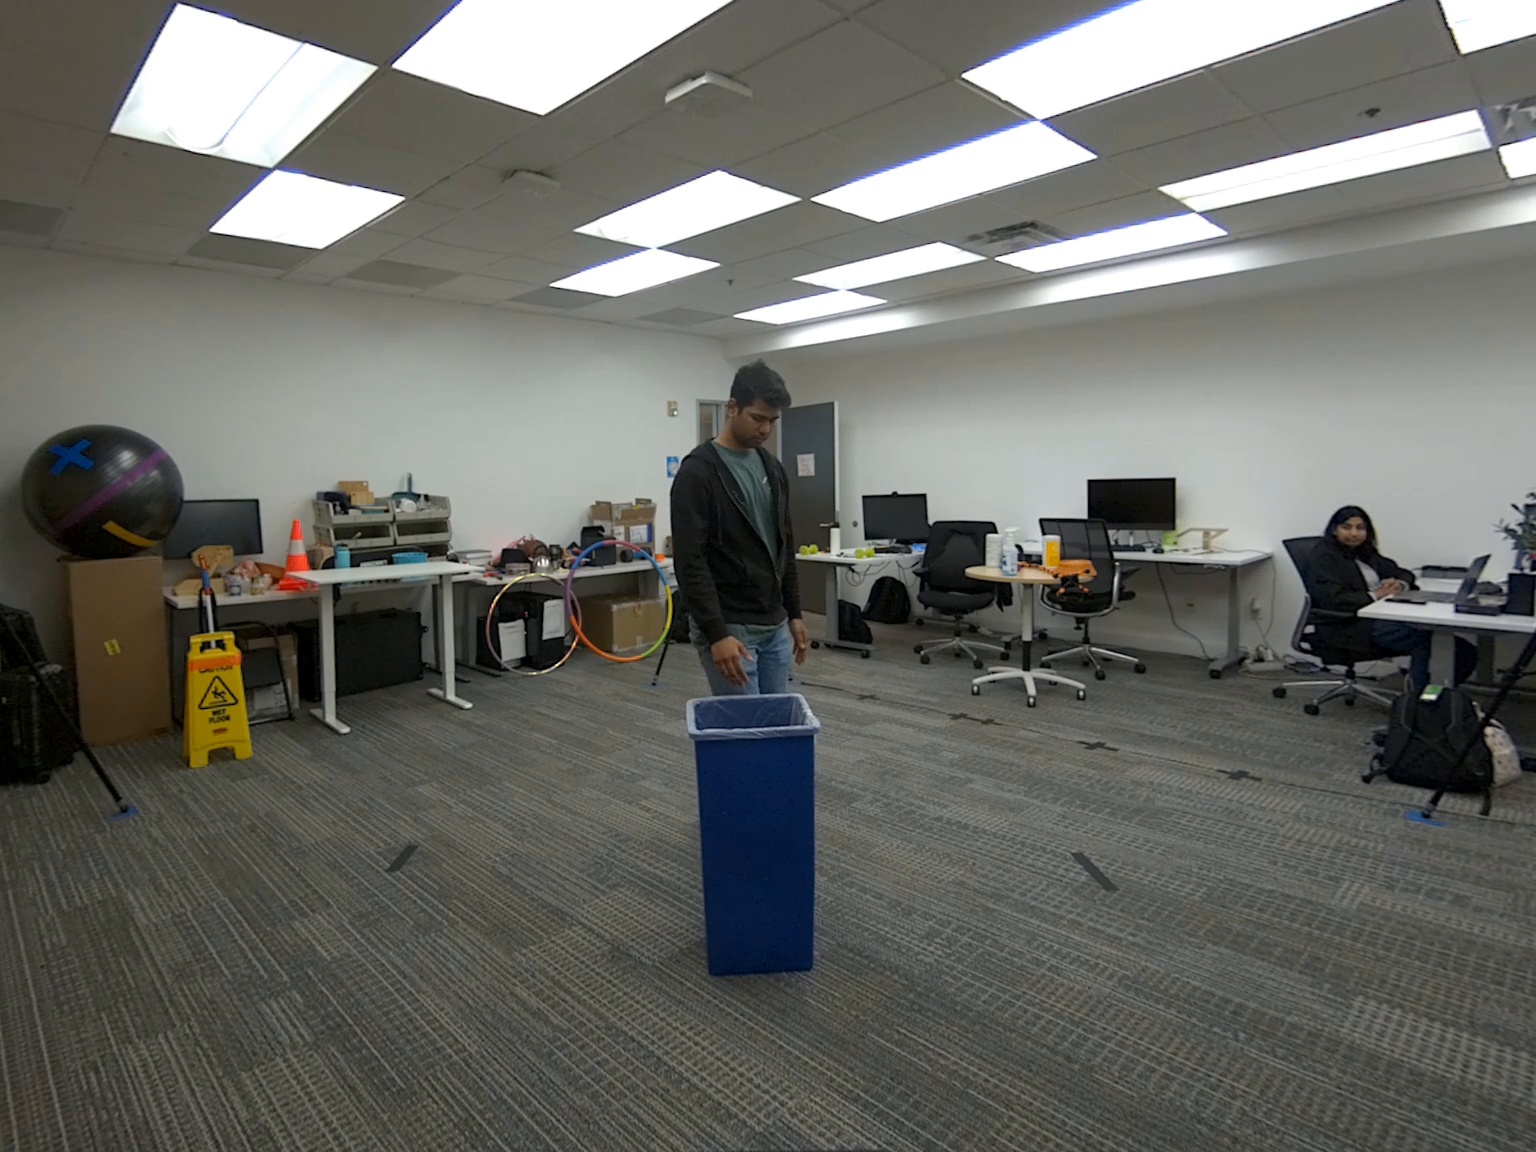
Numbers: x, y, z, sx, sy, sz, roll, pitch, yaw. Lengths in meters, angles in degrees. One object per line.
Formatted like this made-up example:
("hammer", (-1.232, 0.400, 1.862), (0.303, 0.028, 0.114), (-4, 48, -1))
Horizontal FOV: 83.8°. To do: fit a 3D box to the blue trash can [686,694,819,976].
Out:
("blue trash can", (-0.047, 0.753, 2.544), (0.376, 0.710, 0.378), (-2, 5, -6))
